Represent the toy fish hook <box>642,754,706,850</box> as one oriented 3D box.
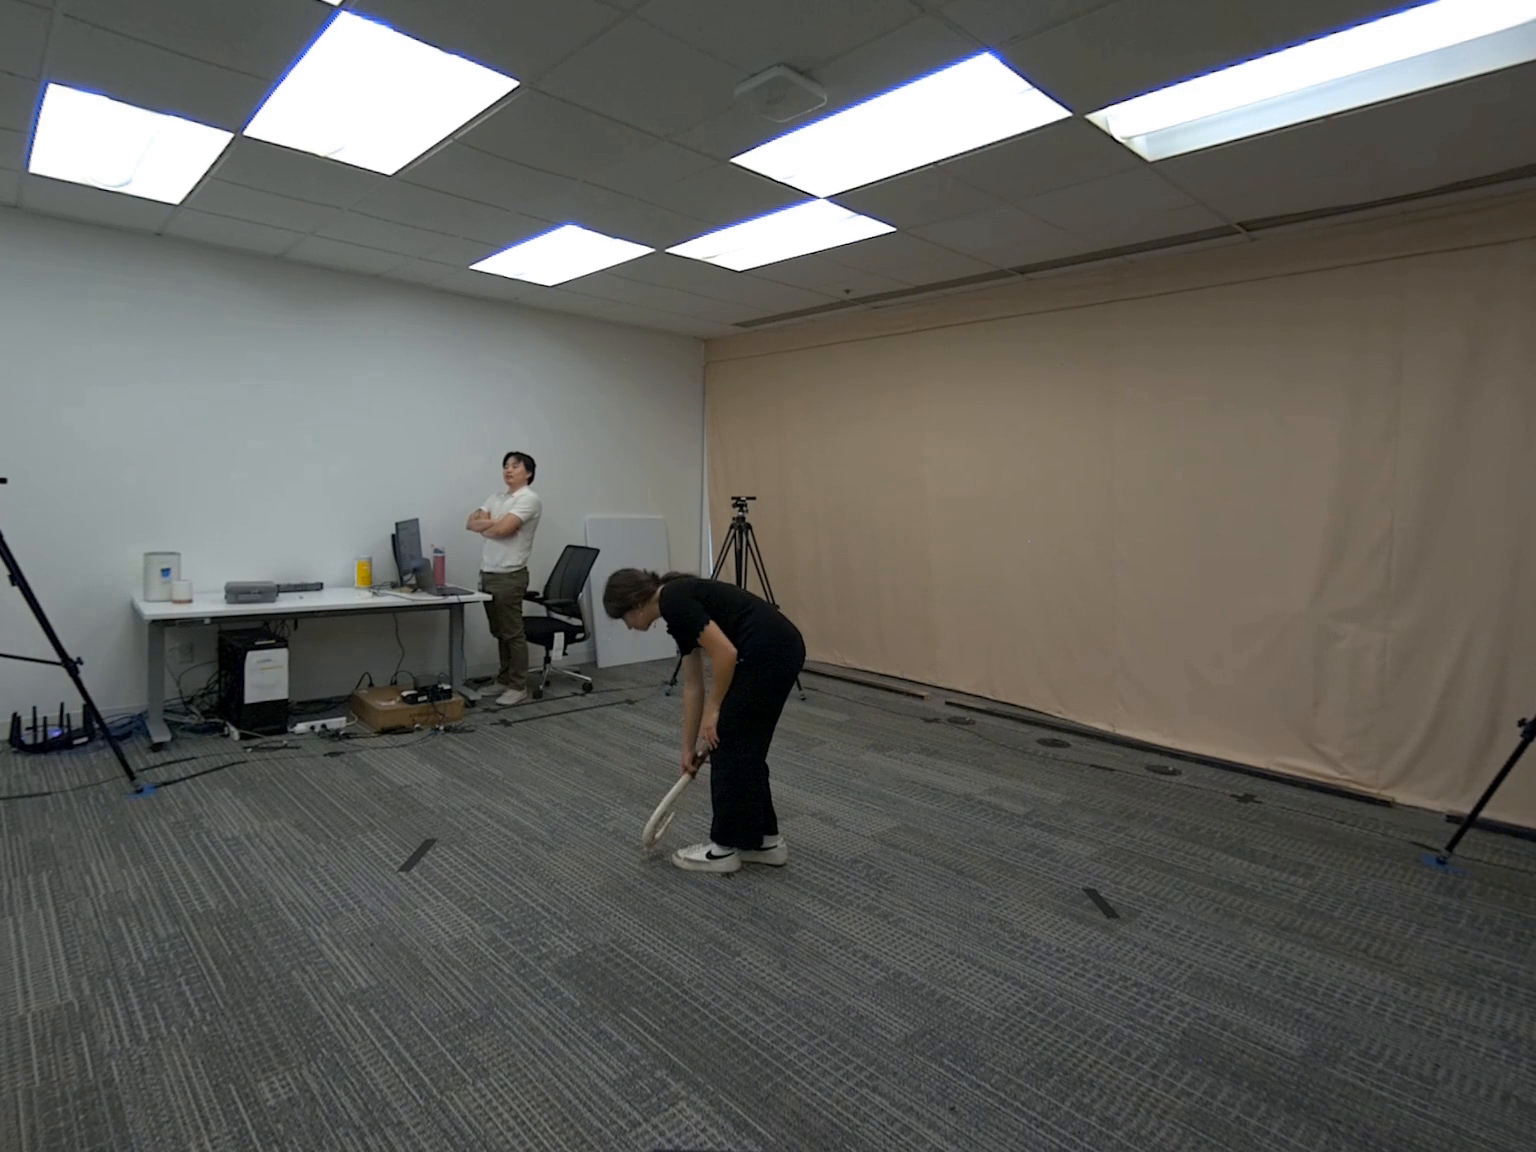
[{"bbox_3d":[-0.350,0.842,3.323,0.049,0.507,0.220,29,-33,14],"label":"toy fish hook"}]
